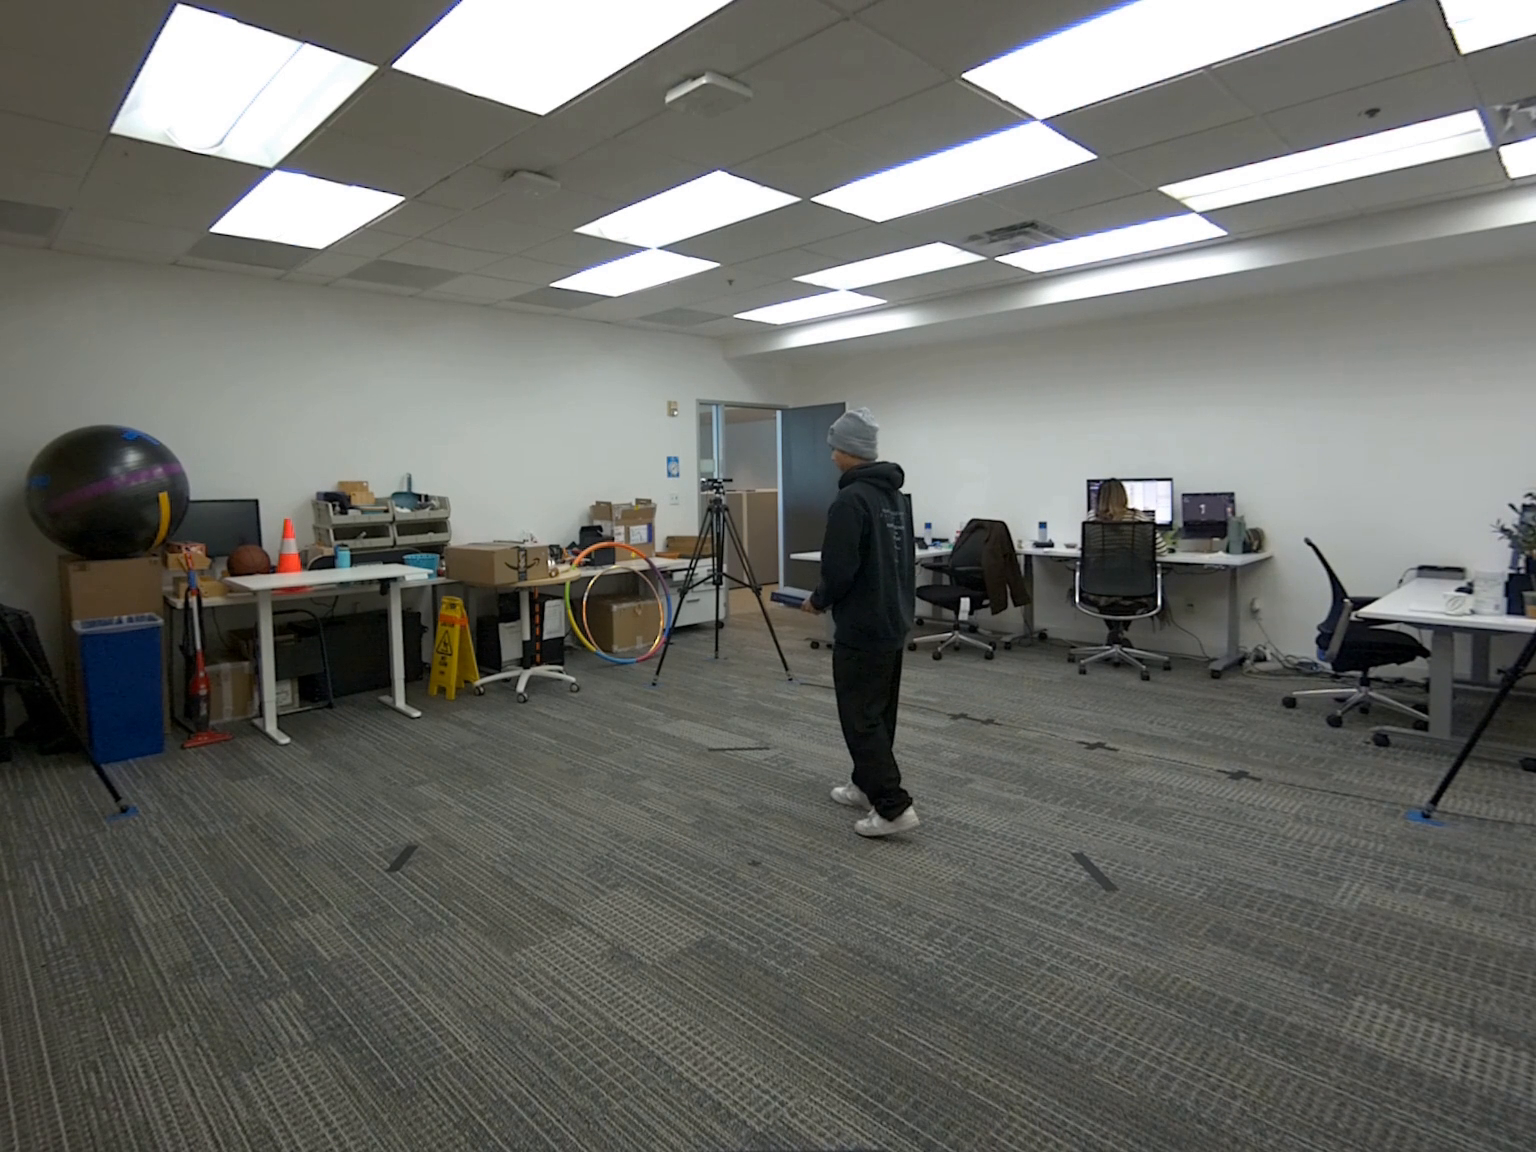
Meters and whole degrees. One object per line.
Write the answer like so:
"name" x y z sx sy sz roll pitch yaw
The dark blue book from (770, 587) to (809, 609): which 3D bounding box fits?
"dark blue book" 0.170 0.100 3.711 0.251 0.045 0.160 9 10 23
